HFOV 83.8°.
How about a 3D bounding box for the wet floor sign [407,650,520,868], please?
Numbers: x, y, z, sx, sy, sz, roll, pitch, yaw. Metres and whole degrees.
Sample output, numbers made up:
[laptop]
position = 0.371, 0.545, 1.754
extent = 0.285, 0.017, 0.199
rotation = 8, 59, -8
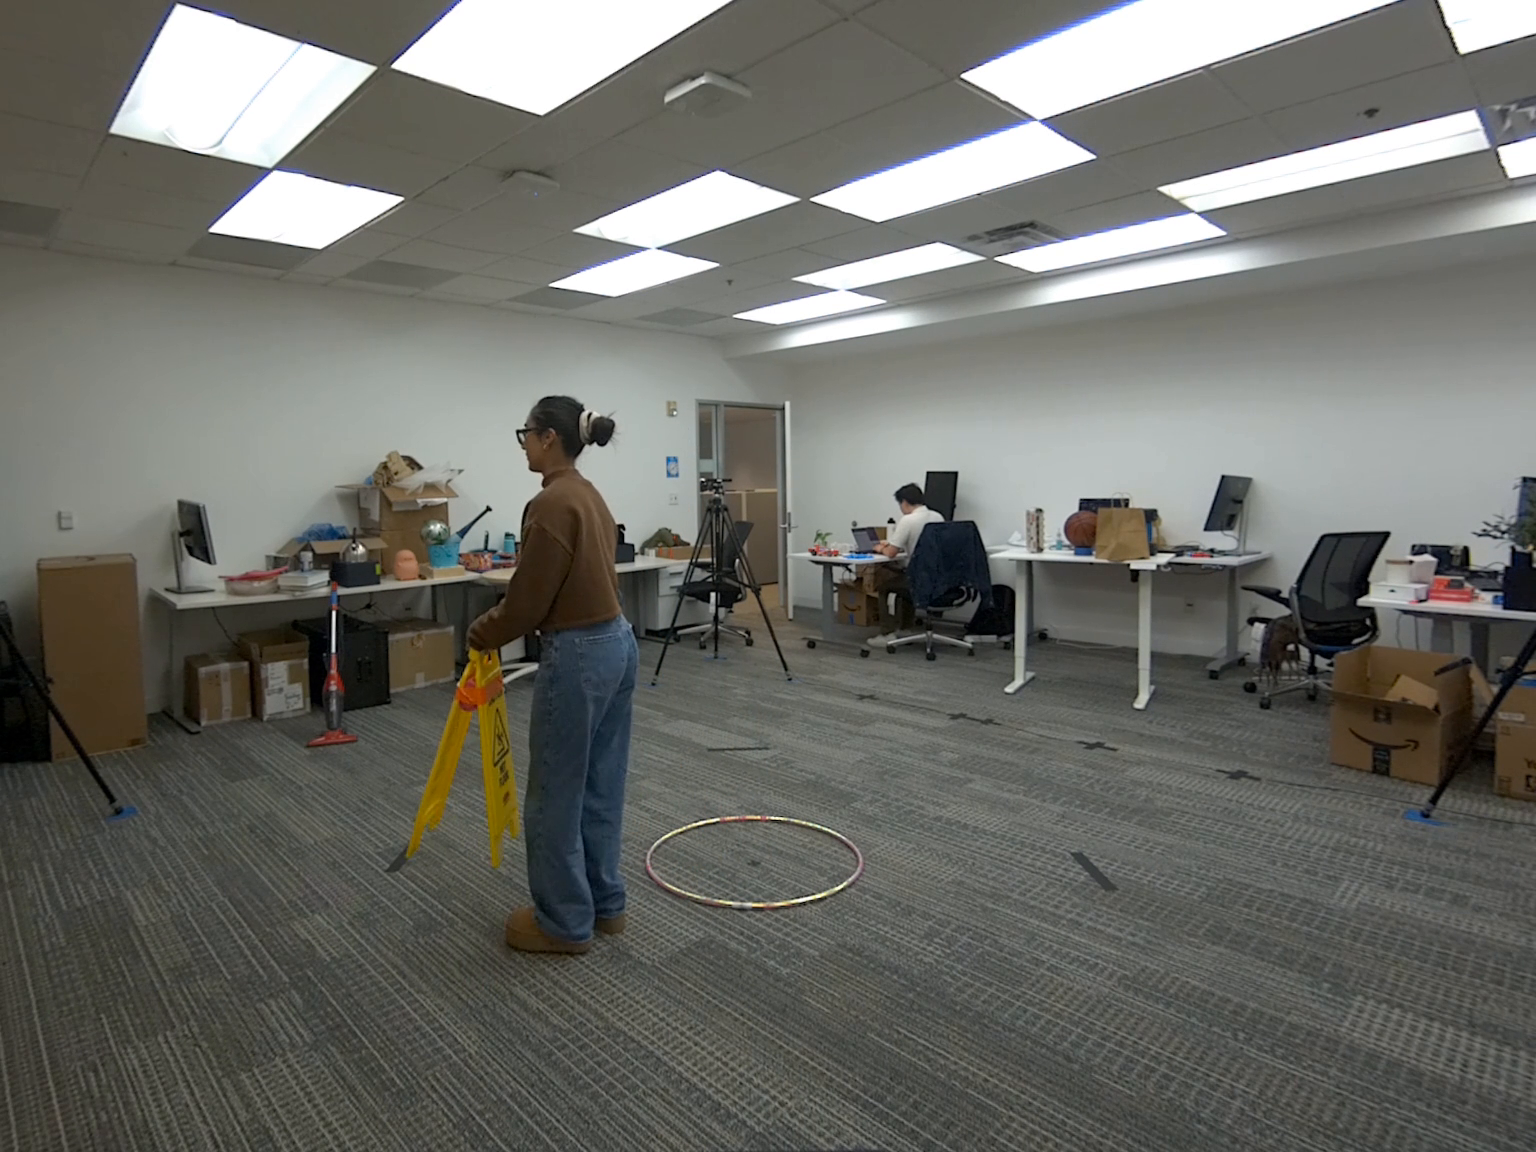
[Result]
[wet floor sign]
position = -0.895, 0.513, 2.603
extent = 0.289, 0.645, 0.283
rotation = 6, 2, -2
